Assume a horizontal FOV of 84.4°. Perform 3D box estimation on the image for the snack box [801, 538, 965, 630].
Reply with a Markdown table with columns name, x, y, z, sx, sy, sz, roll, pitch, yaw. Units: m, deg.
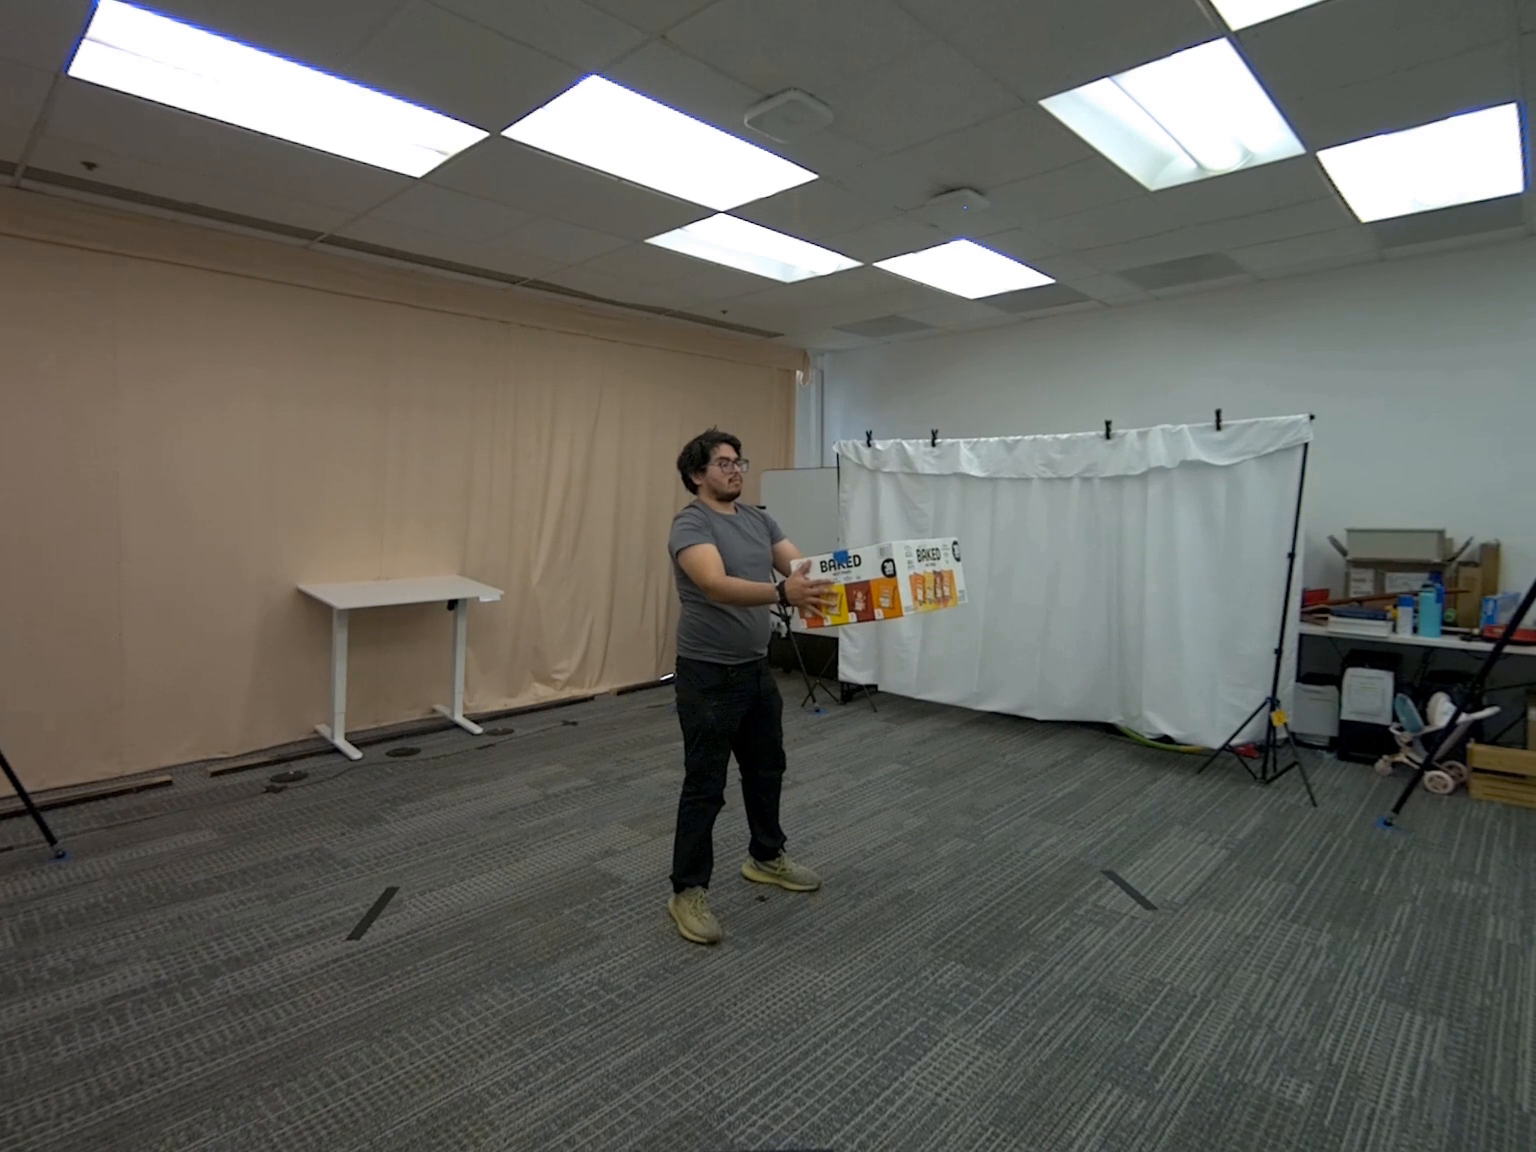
| name | x | y | z | sx | sy | sz | roll | pitch | yaw |
| --- | --- | --- | --- | --- | --- | --- | --- | --- | --- |
| snack box | 0.337 | 0.020 | 2.478 | 0.350 | 0.206 | 0.393 | -10 | -3 | 38 |
